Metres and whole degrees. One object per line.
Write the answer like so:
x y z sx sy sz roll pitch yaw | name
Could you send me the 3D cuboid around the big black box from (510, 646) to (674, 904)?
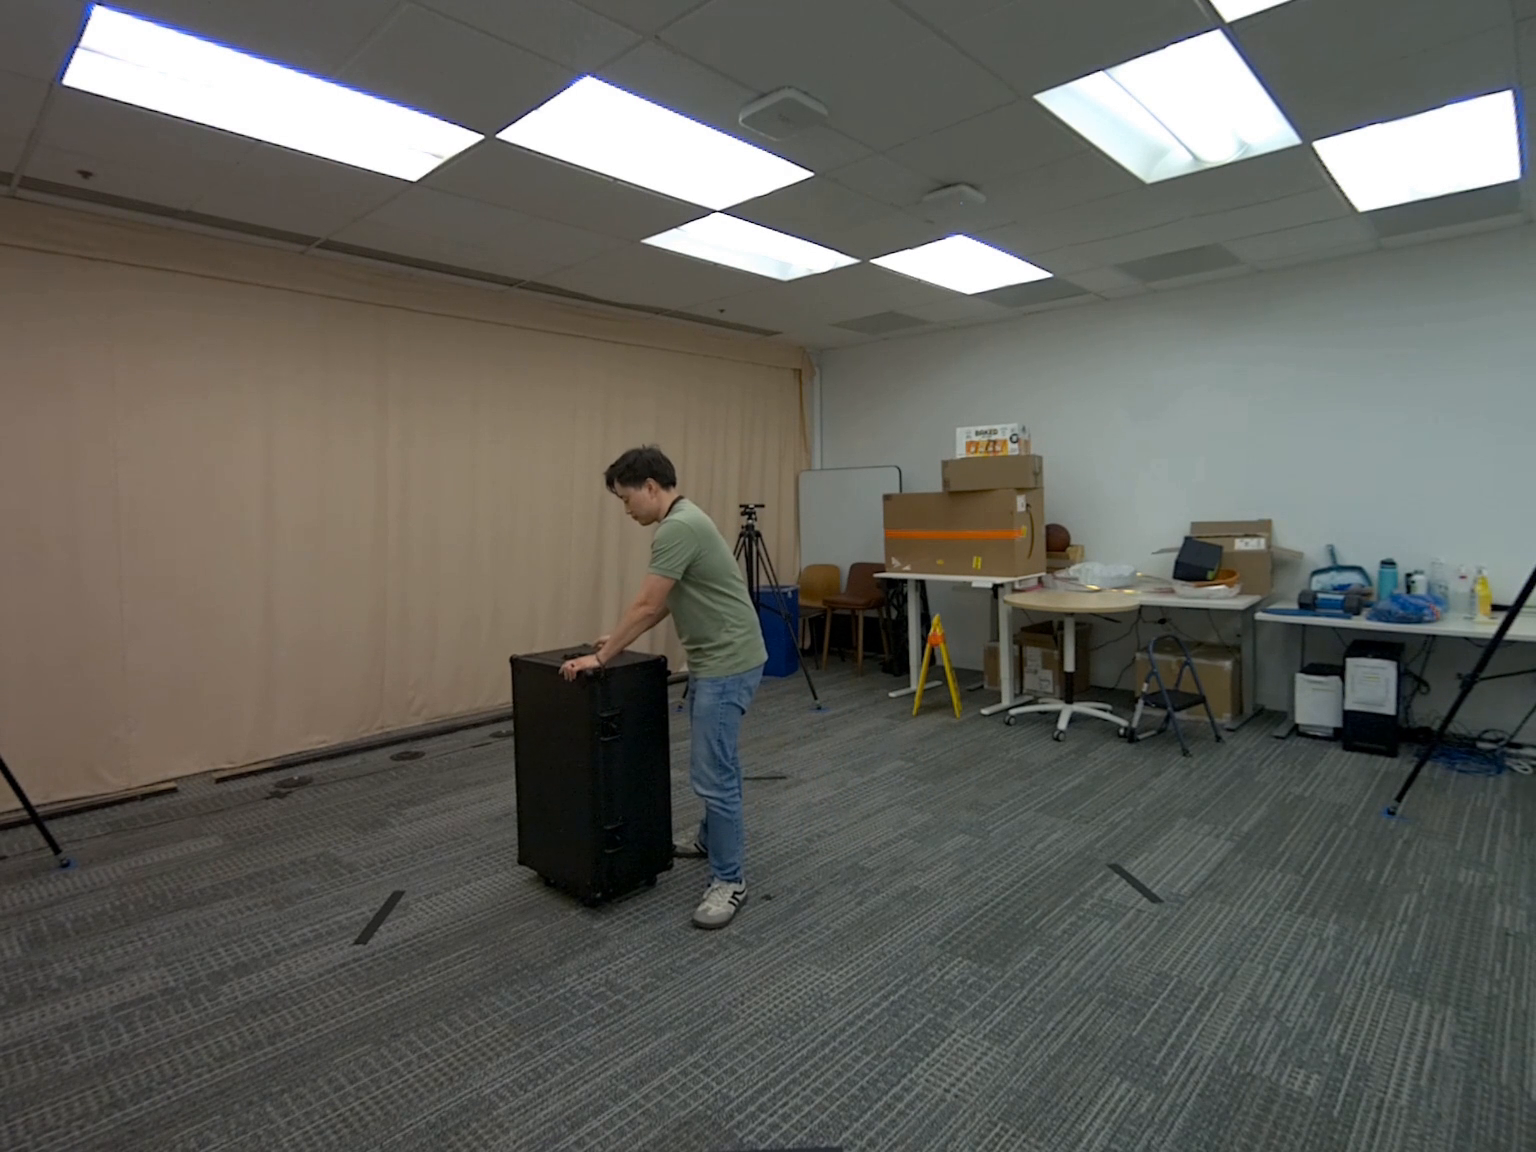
-0.648 0.720 3.108 0.538 0.860 0.384 2 4 43 | big black box
